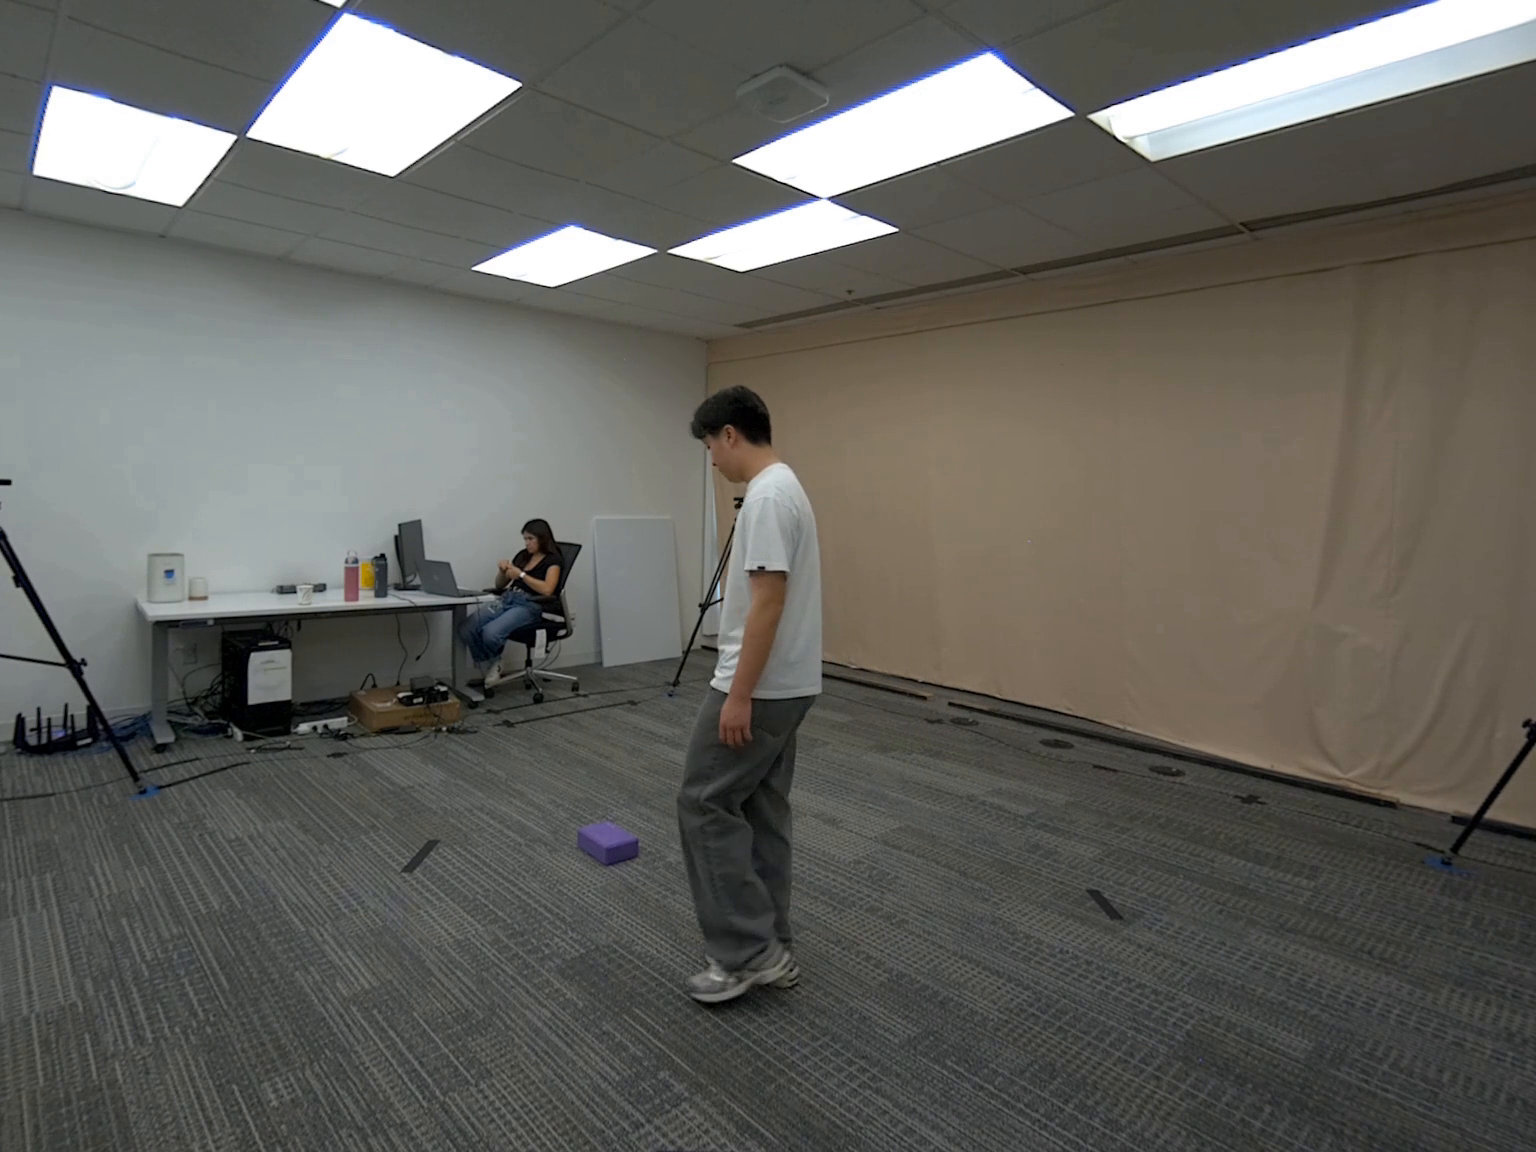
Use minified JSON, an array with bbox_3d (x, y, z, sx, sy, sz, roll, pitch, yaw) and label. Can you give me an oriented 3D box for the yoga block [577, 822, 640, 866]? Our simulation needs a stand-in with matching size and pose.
[{"bbox_3d":[-0.637,1.046,3.285,0.145,0.076,0.235,-3,6,-41],"label":"yoga block"}]
